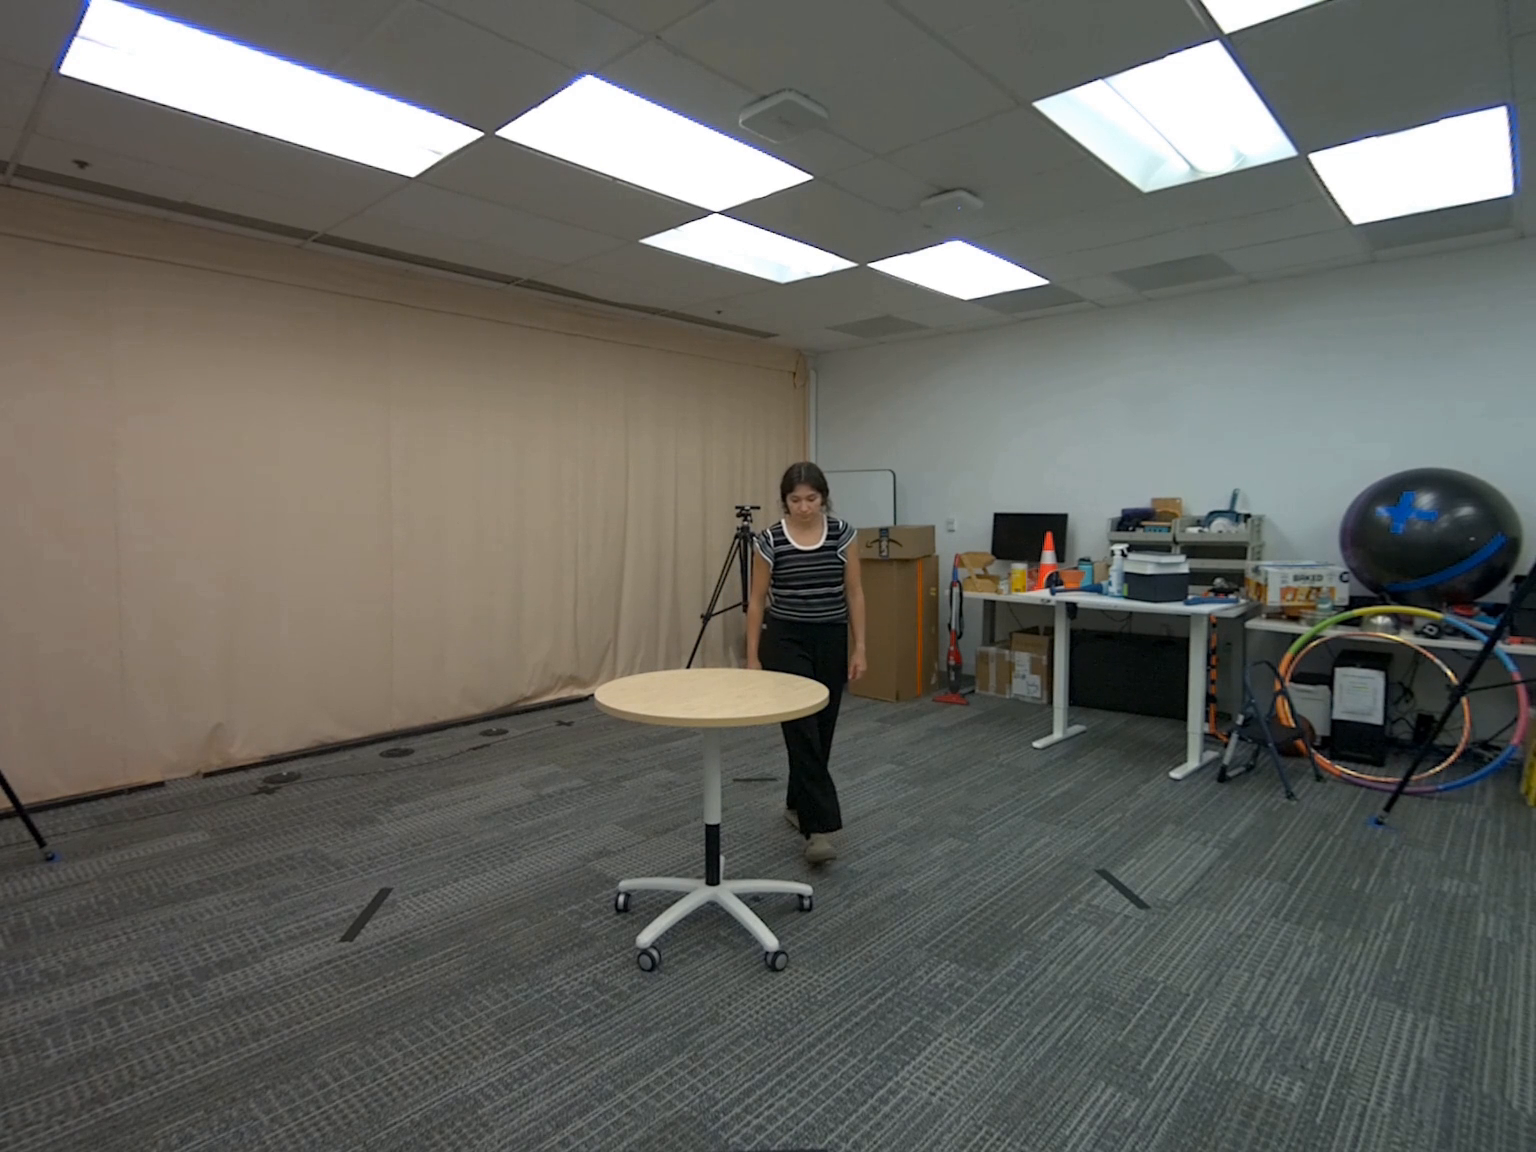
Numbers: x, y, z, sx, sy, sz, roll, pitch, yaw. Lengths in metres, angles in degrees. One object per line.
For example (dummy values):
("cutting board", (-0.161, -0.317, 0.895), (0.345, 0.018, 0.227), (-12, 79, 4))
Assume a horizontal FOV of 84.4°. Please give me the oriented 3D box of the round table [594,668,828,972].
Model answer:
("round table", (-0.172, 0.767, 2.783), (0.784, 0.785, 0.788), (-1, 4, -2))
